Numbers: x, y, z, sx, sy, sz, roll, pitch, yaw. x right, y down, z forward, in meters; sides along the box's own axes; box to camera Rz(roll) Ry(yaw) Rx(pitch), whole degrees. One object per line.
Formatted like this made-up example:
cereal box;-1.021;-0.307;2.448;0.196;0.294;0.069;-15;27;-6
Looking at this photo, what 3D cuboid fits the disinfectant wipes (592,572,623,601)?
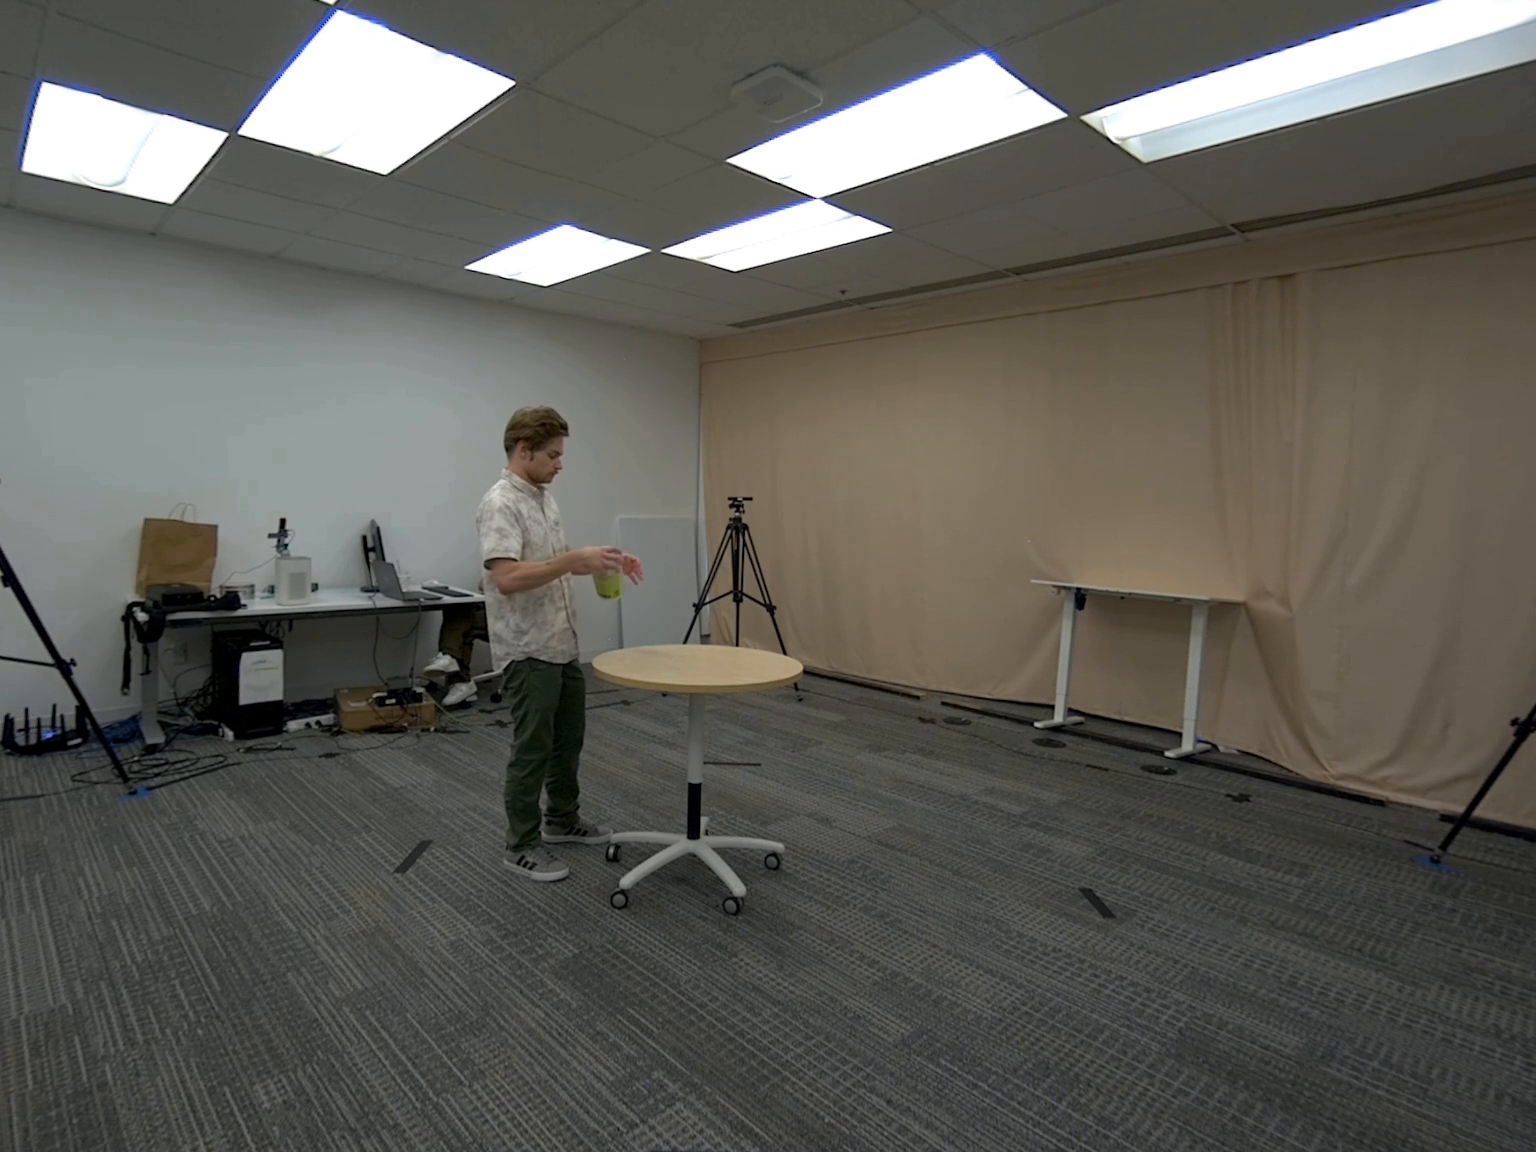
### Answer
disinfectant wipes;-0.604;-0.007;3.029;0.118;0.120;0.212;2;-32;7
